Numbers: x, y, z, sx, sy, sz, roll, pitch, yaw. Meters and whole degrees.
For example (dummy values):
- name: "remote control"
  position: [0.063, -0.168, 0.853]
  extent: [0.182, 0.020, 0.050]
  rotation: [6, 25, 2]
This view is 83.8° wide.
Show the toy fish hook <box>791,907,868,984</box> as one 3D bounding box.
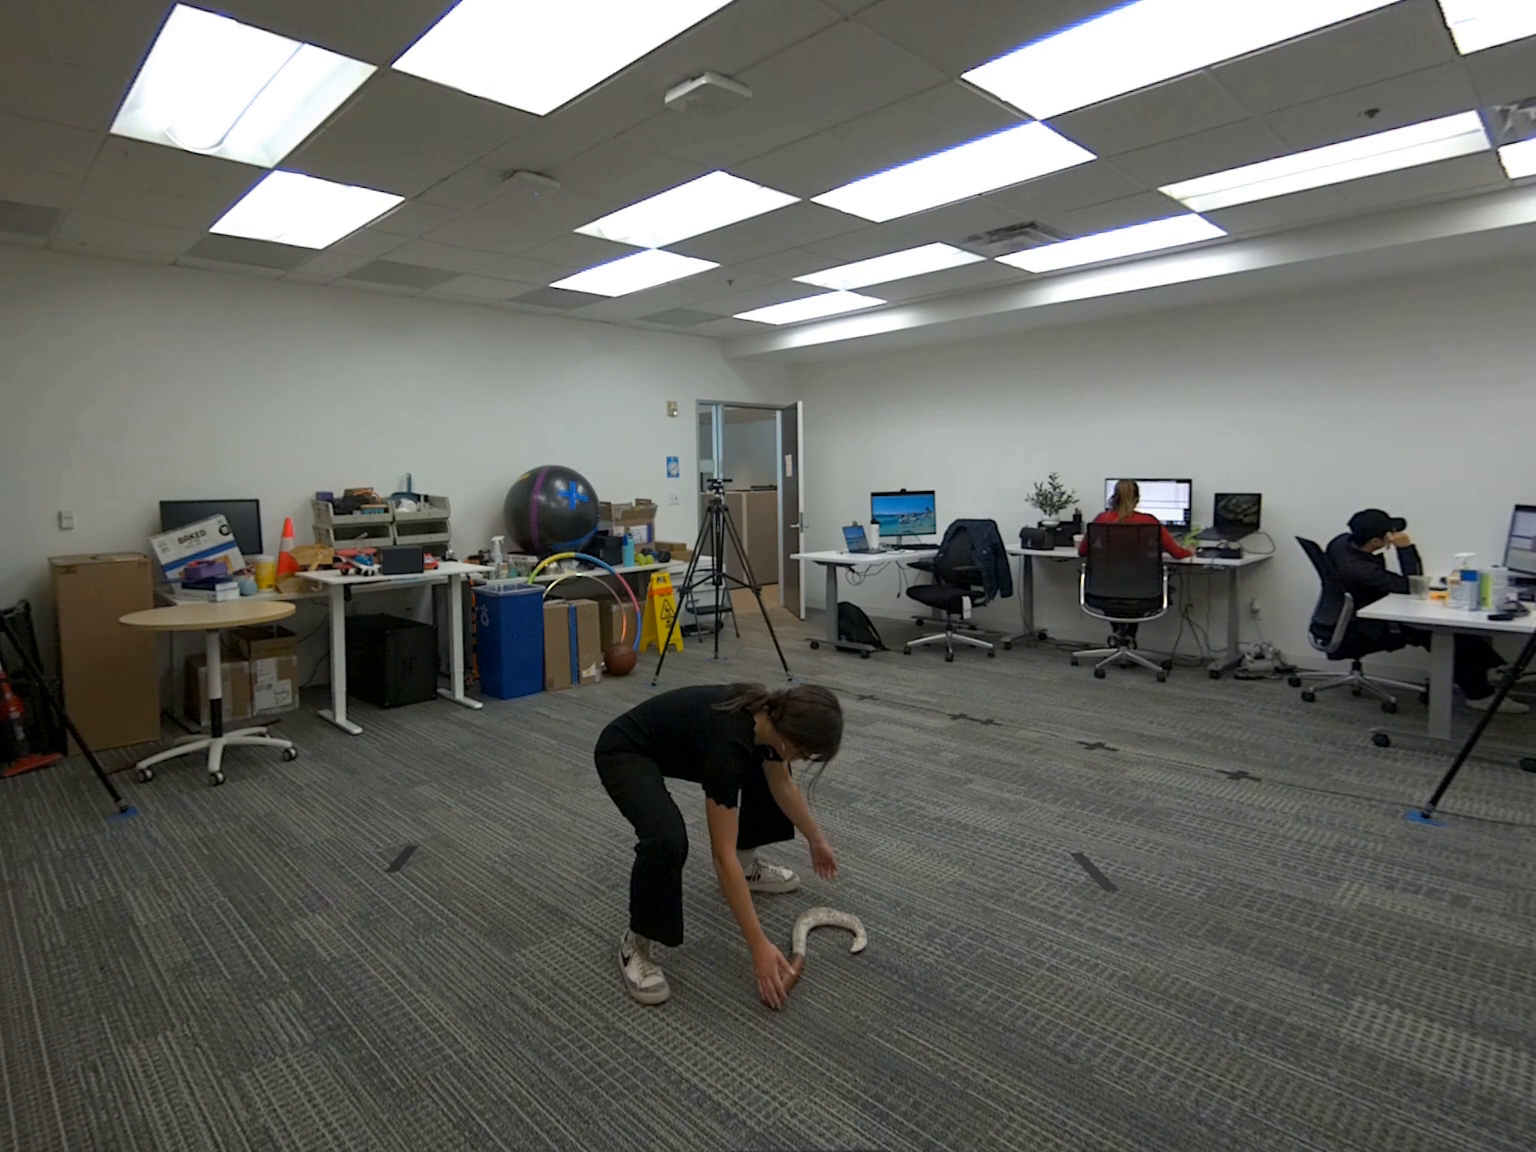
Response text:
- name: "toy fish hook"
  position: [0.150, 1.096, 2.470]
  extent: [0.229, 0.048, 0.499]
  rotation: [0, 7, 20]
